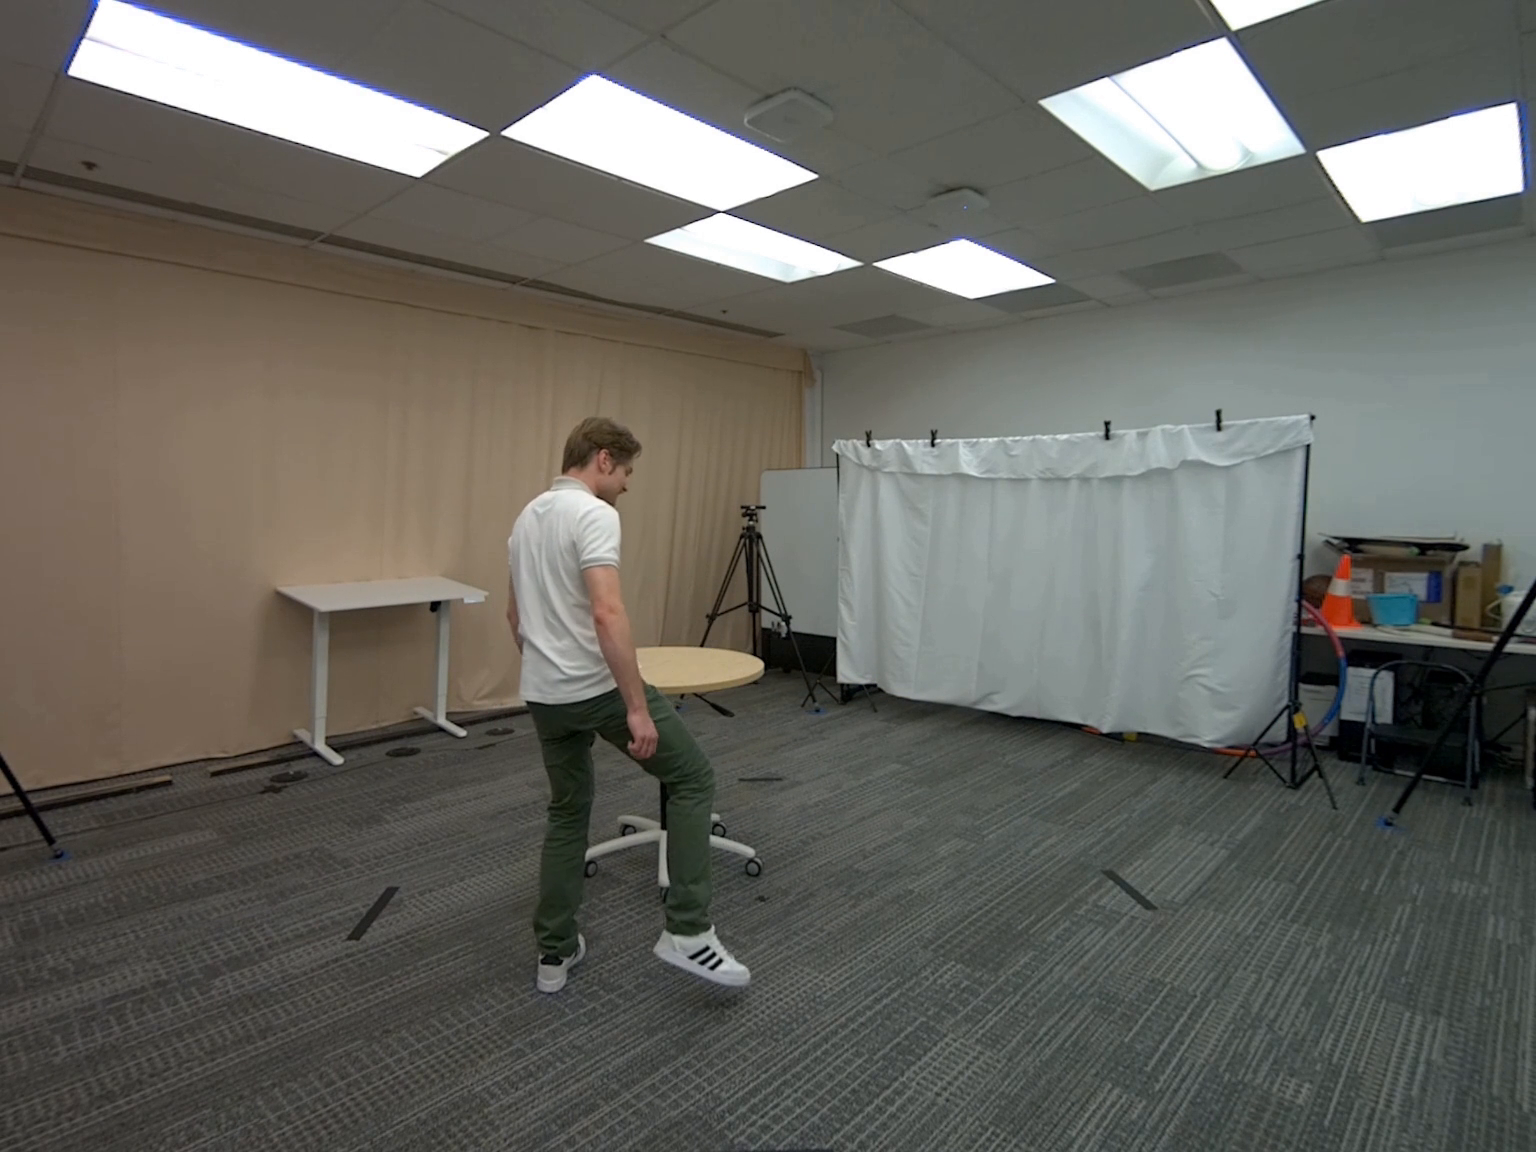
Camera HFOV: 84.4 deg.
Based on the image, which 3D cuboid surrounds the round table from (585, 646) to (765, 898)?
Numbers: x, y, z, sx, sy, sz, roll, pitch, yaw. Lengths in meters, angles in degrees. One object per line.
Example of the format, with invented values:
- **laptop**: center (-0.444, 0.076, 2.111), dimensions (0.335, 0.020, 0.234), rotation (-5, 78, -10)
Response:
- **round table**: center (-0.384, 0.733, 3.265), dimensions (0.763, 0.792, 0.767), rotation (-1, 4, -2)
